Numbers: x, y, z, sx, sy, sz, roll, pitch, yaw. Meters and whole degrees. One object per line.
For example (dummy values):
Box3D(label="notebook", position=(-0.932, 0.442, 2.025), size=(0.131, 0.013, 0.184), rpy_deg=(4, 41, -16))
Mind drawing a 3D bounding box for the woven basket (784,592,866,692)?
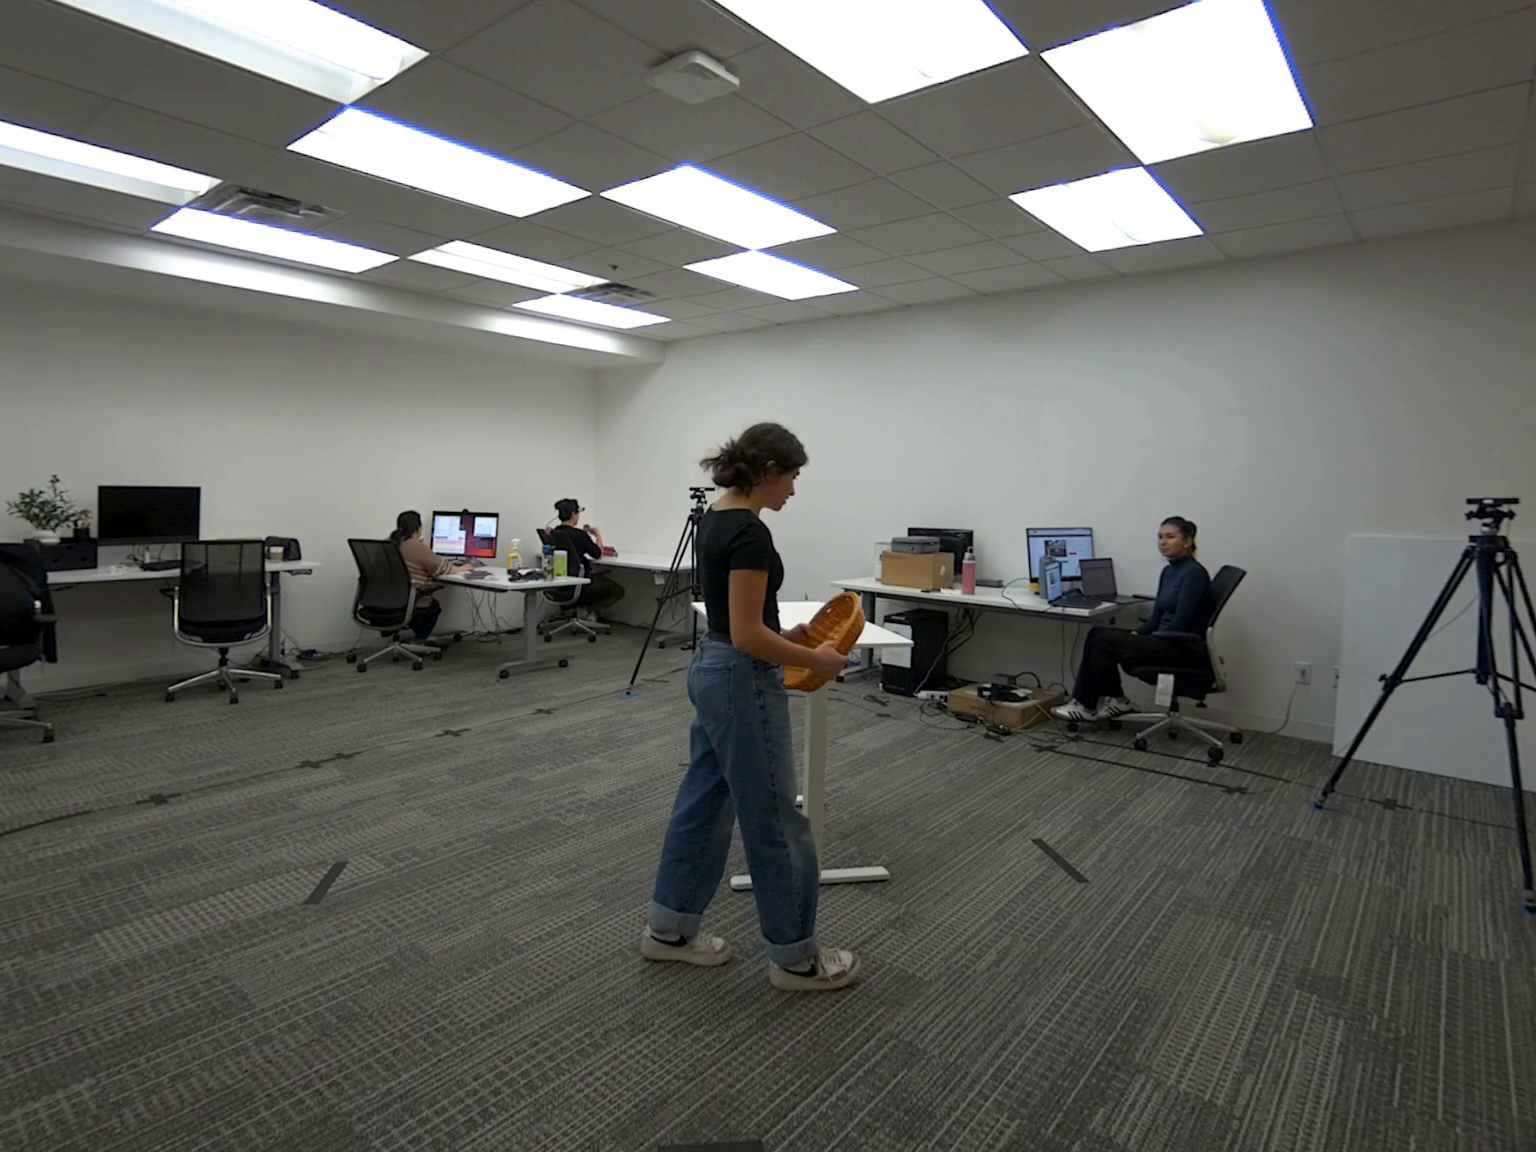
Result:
Box3D(label="woven basket", position=(0.168, 0.199, 2.465), size=(0.072, 0.350, 0.258), rpy_deg=(41, -5, -19))
